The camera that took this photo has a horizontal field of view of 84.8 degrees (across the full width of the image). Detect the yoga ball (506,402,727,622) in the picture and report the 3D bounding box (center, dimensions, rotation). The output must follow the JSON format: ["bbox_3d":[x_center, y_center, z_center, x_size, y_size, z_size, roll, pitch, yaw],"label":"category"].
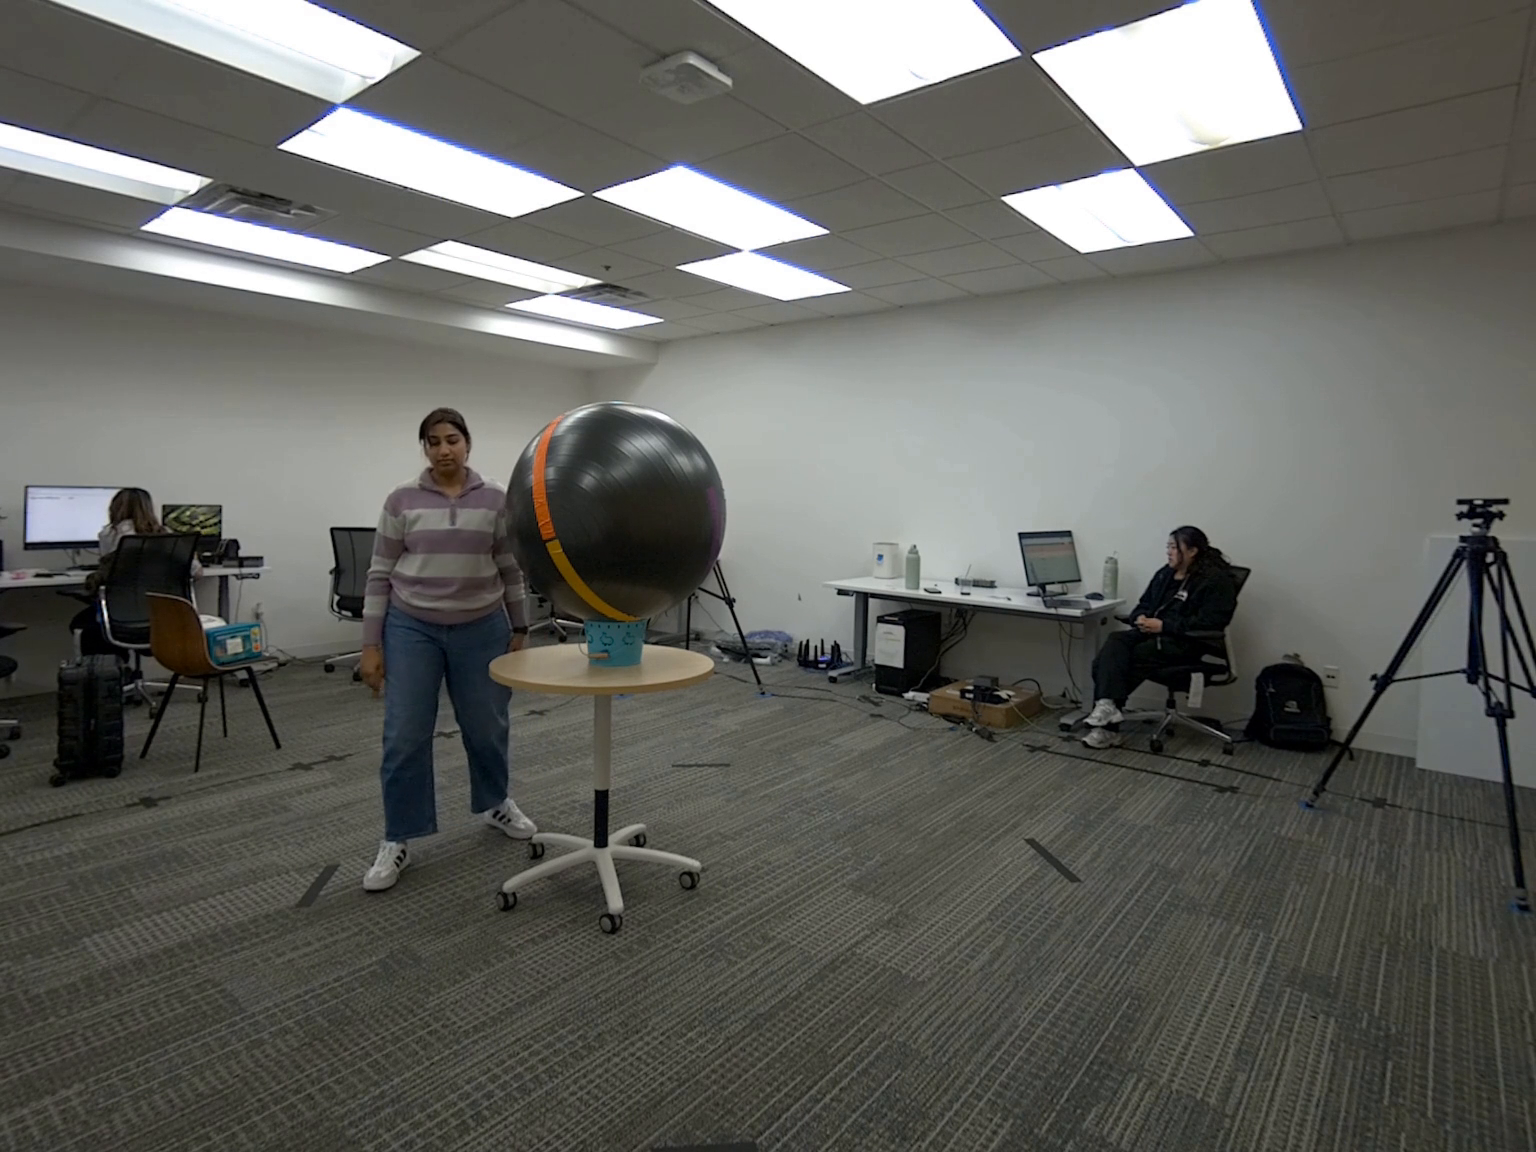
[{"bbox_3d":[-0.534,-0.214,2.934,0.757,0.755,0.762,1,4,-2],"label":"yoga ball"}]
